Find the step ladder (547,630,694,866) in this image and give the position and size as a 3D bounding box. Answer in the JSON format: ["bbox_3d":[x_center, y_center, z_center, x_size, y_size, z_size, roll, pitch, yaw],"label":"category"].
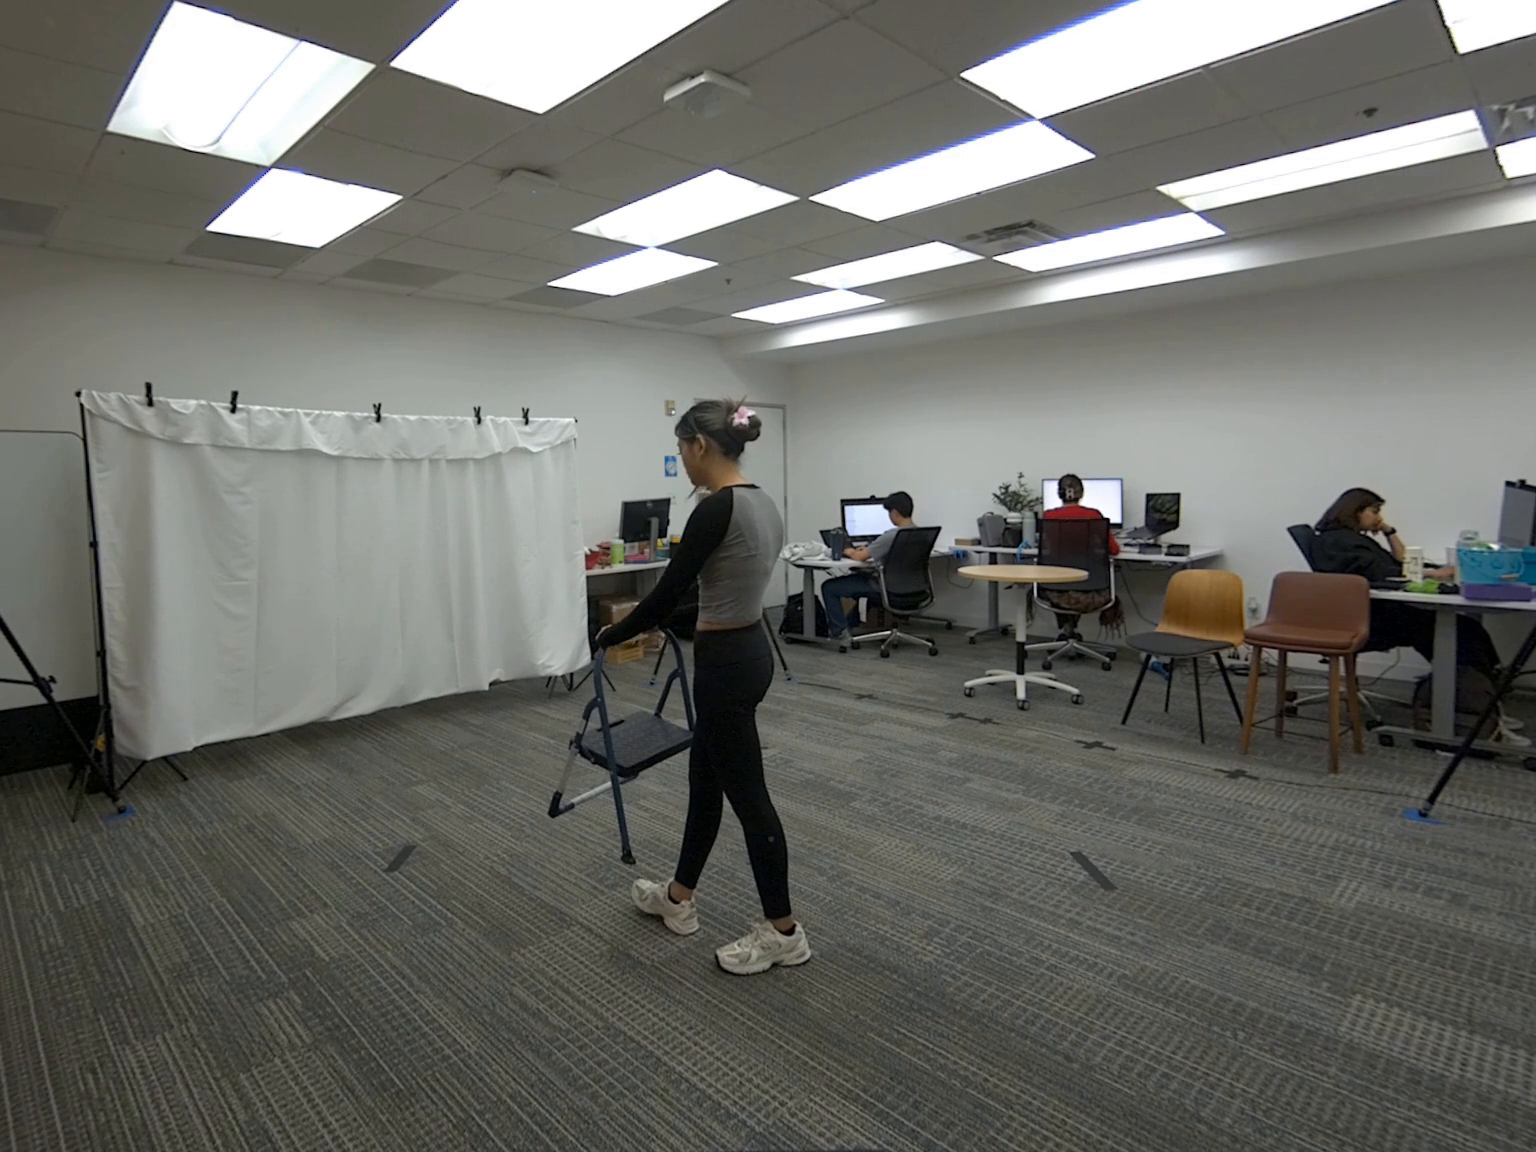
[{"bbox_3d":[-0.388,0.469,2.657,0.360,0.601,0.421,14,12,30],"label":"step ladder"}]
